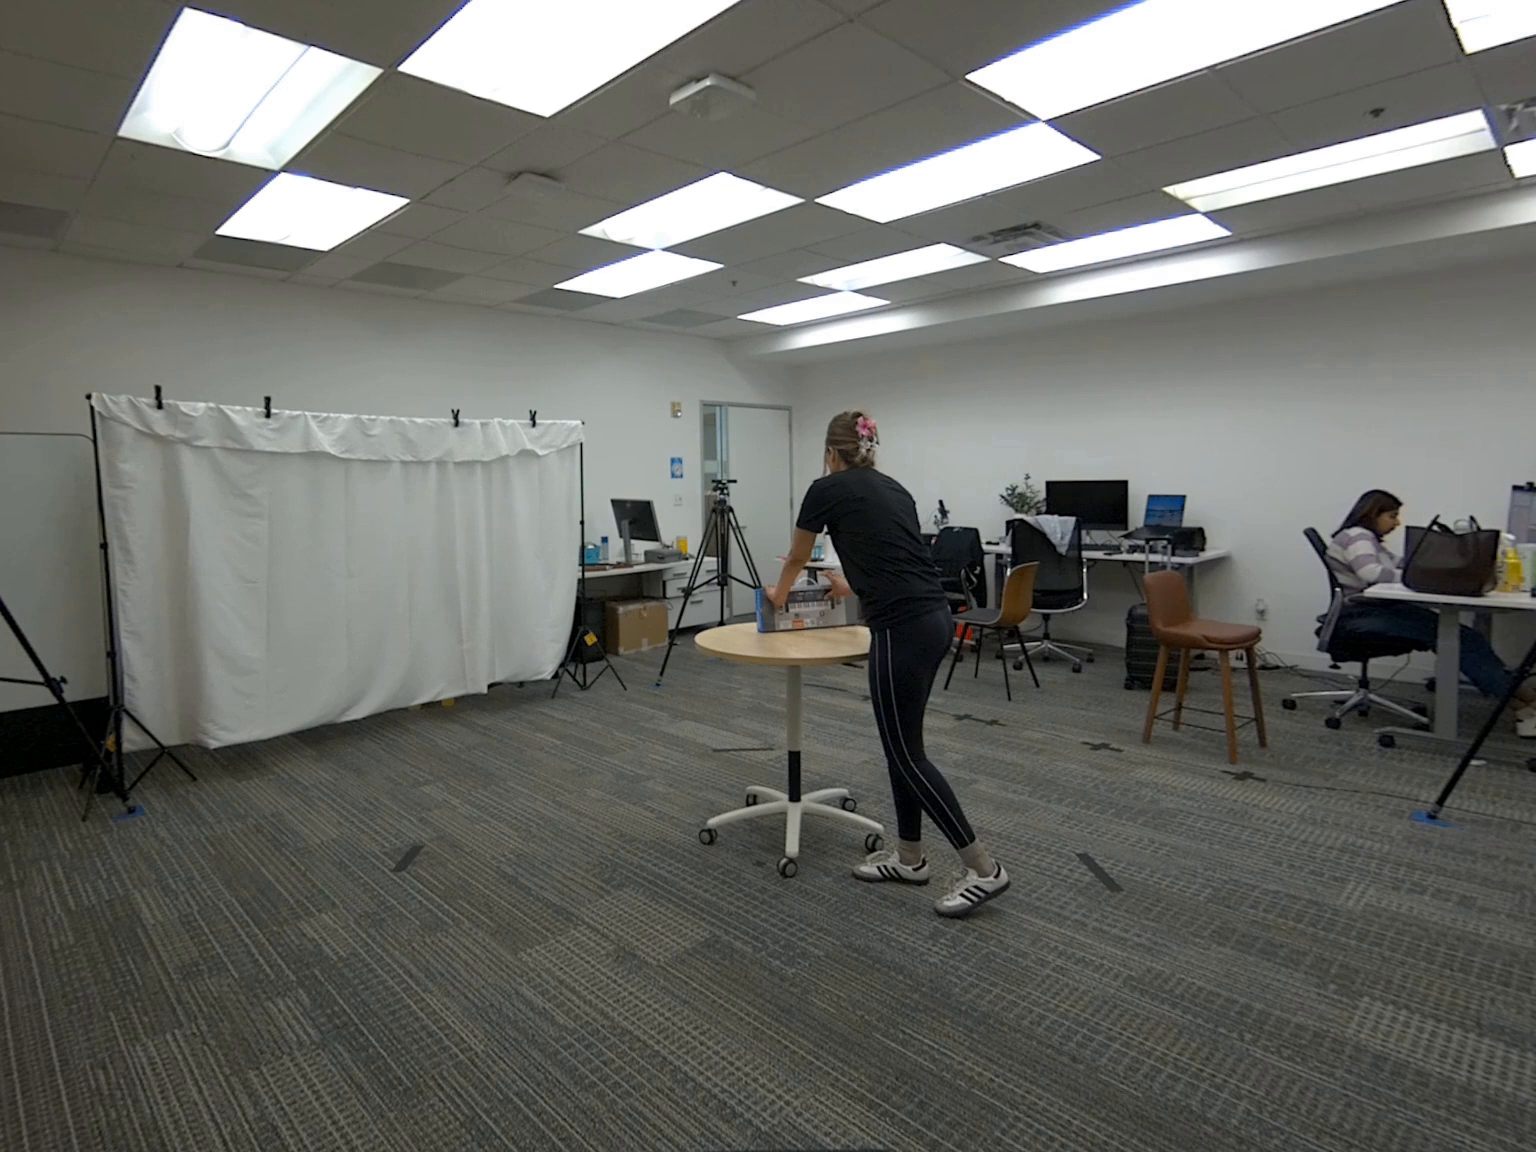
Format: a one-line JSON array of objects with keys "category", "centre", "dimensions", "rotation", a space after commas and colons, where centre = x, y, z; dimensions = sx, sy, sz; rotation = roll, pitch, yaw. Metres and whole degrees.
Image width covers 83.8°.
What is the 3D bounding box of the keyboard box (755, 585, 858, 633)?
[{"category": "keyboard box", "centre": [0.159, 0.130, 3.507], "dimensions": [0.428, 0.176, 0.060], "rotation": [-3, -3, -22]}]
